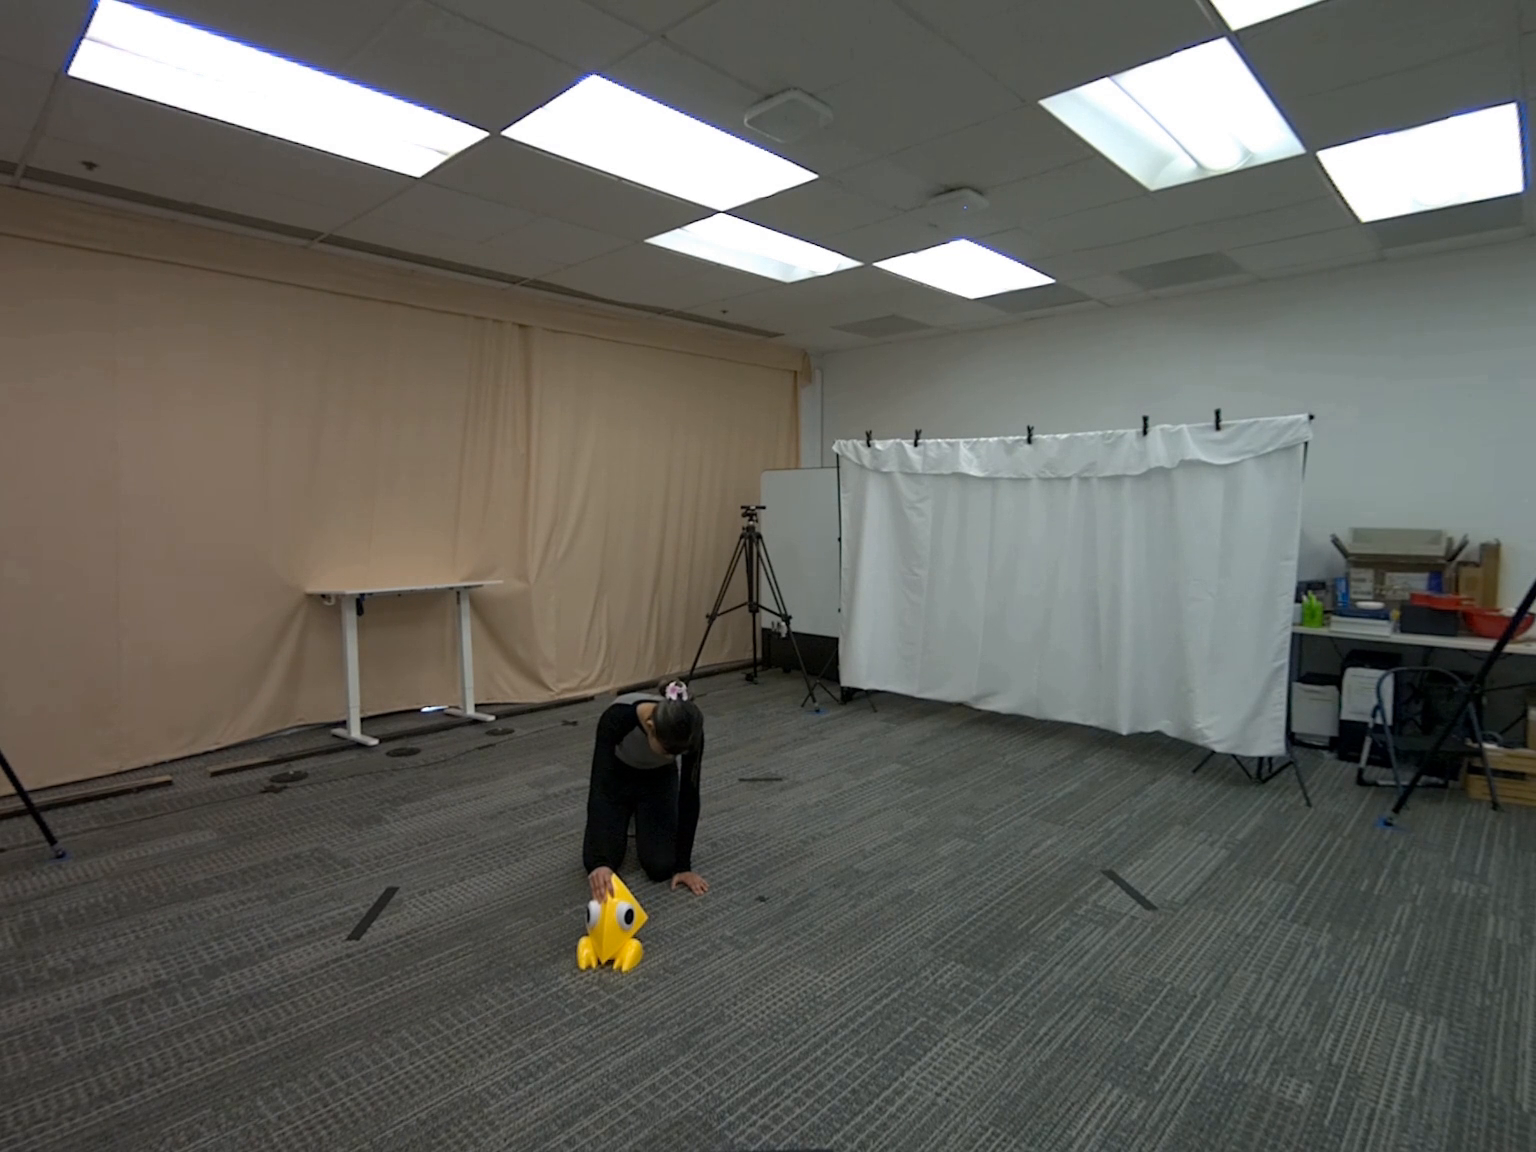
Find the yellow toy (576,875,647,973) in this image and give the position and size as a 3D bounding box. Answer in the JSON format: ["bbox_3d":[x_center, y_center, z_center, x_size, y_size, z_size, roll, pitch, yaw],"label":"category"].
[{"bbox_3d":[-0.494,1.063,2.608,0.206,0.230,0.192,0,3,5],"label":"yellow toy"}]
